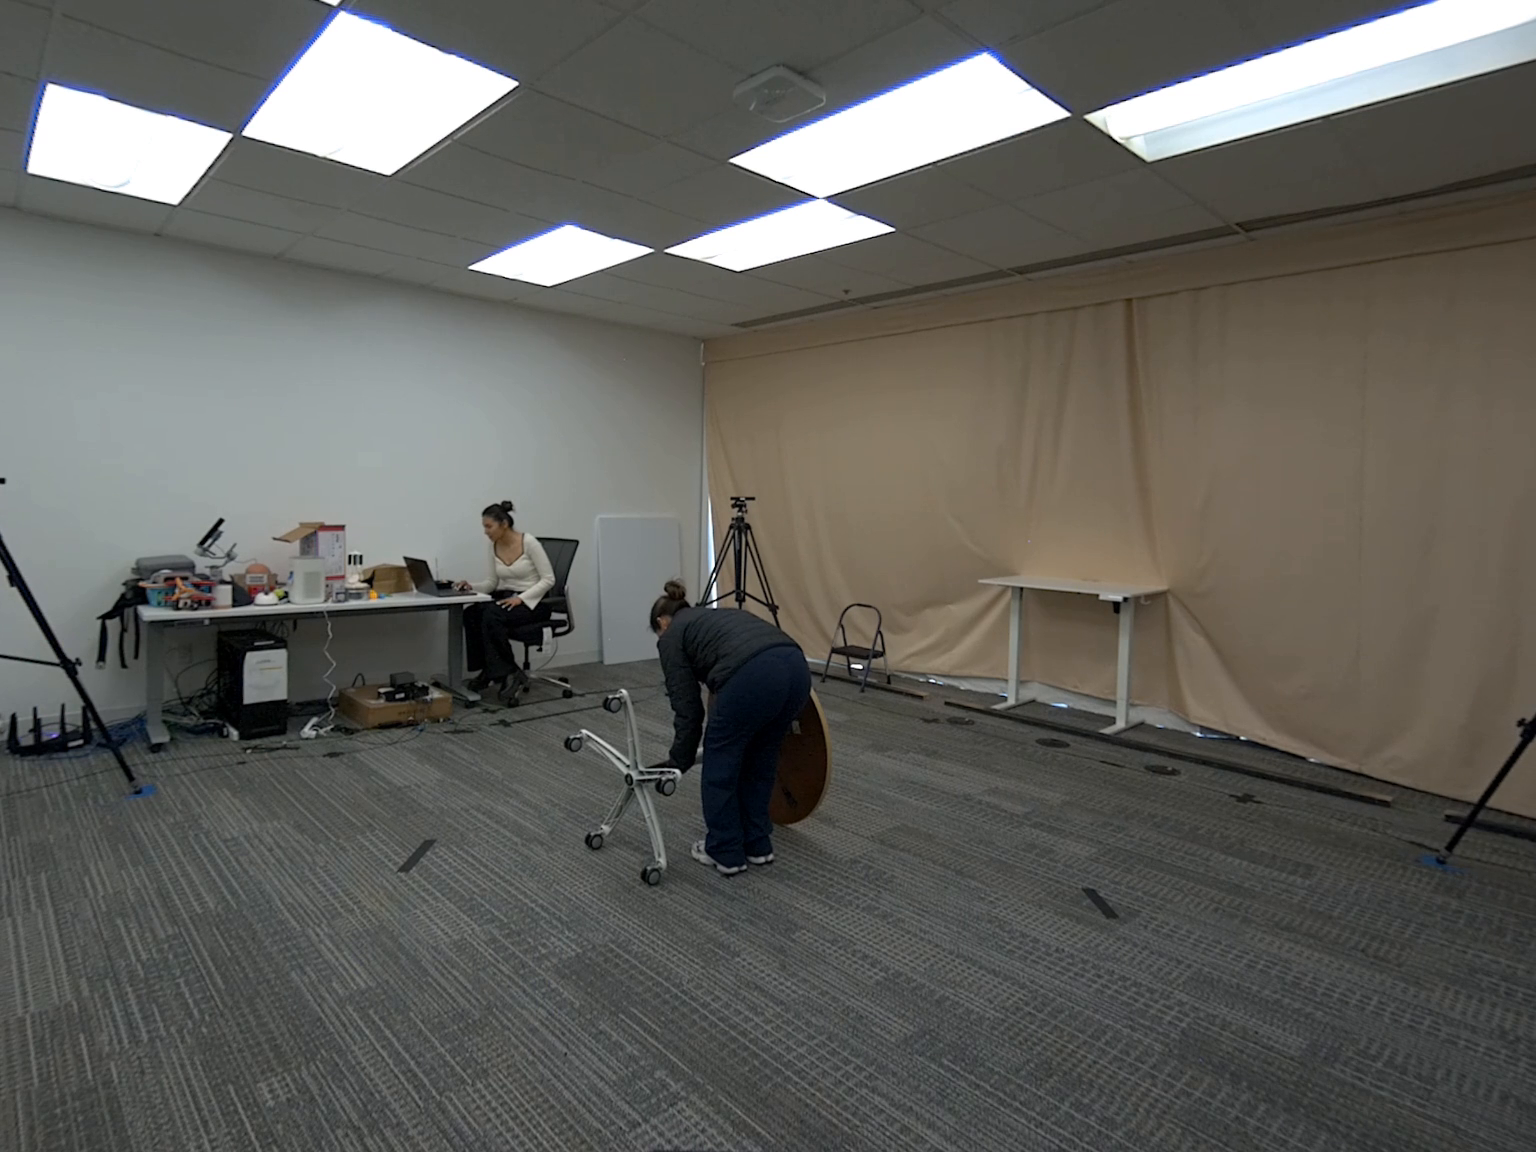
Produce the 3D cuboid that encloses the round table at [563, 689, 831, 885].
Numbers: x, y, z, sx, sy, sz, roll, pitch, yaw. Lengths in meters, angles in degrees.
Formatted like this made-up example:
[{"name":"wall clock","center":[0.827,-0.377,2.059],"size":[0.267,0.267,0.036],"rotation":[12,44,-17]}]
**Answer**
[{"name":"round table","center":[-0.290,0.743,3.360],"size":[0.771,0.780,0.805],"rotation":[-10,11,-42]}]
